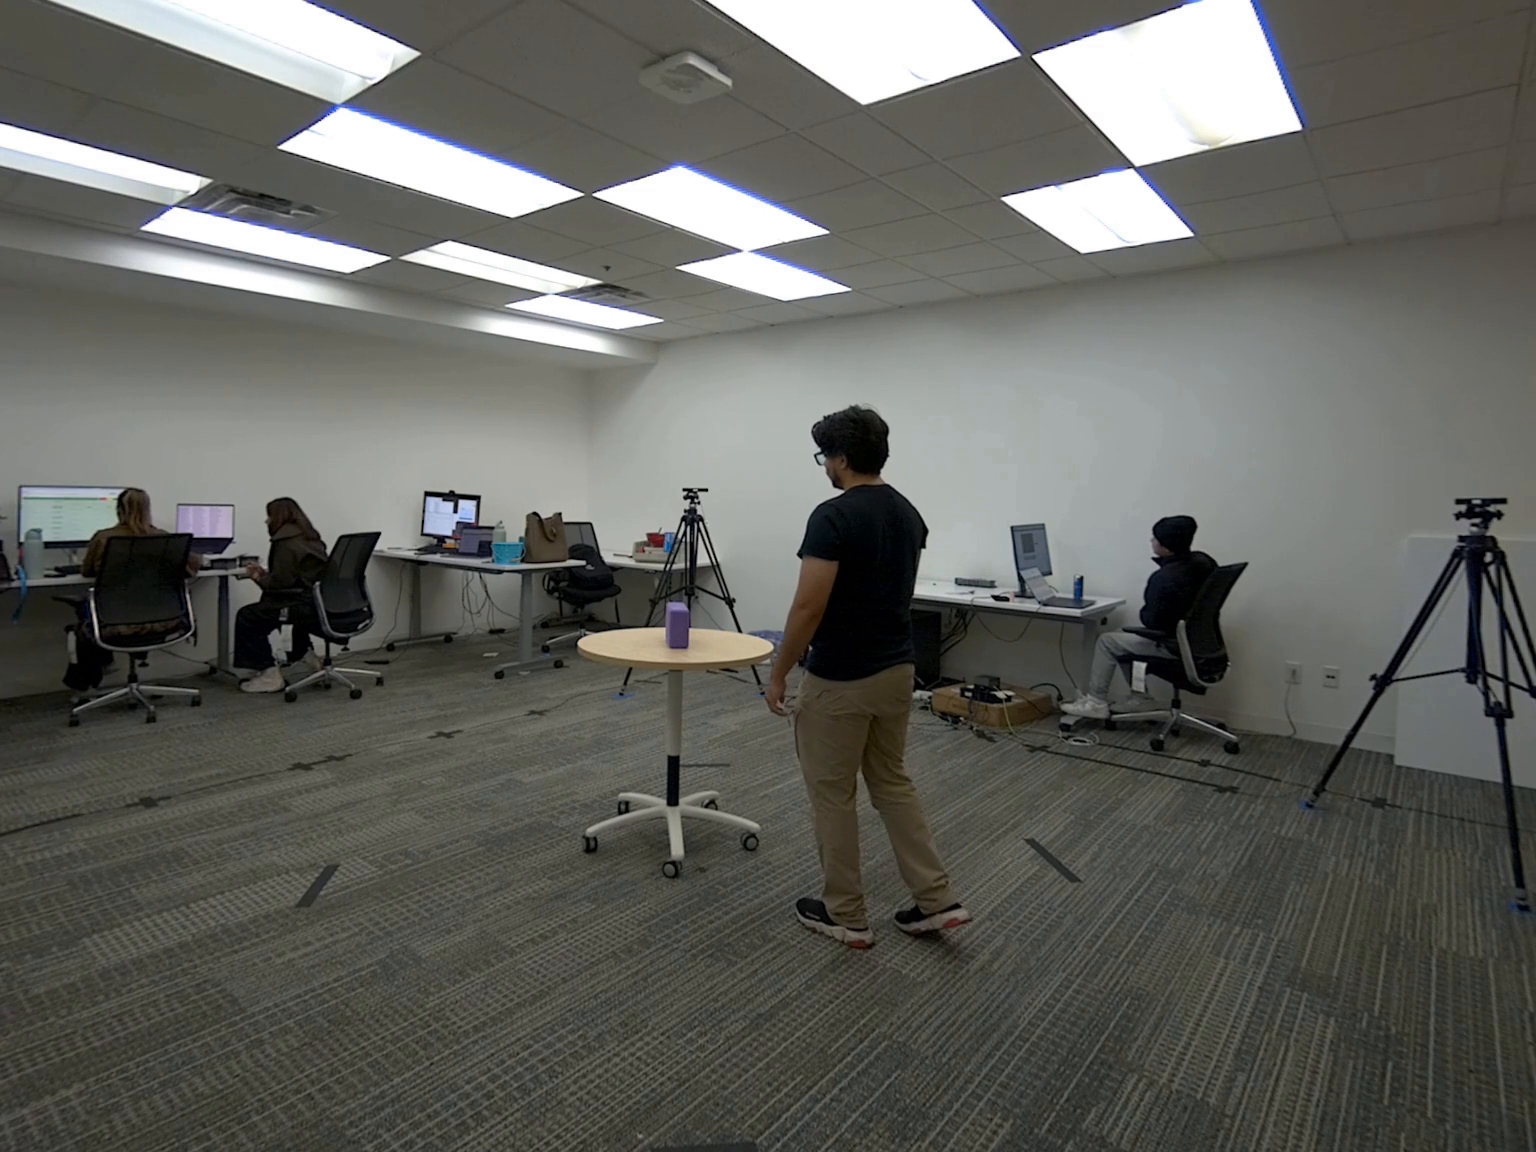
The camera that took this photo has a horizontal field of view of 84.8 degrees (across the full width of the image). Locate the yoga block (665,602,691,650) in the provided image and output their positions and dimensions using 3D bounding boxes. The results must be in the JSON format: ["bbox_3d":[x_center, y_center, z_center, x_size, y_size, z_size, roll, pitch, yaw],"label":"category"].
[{"bbox_3d":[-0.367,0.187,3.334,0.076,0.148,0.232,-1,5,-9],"label":"yoga block"}]
